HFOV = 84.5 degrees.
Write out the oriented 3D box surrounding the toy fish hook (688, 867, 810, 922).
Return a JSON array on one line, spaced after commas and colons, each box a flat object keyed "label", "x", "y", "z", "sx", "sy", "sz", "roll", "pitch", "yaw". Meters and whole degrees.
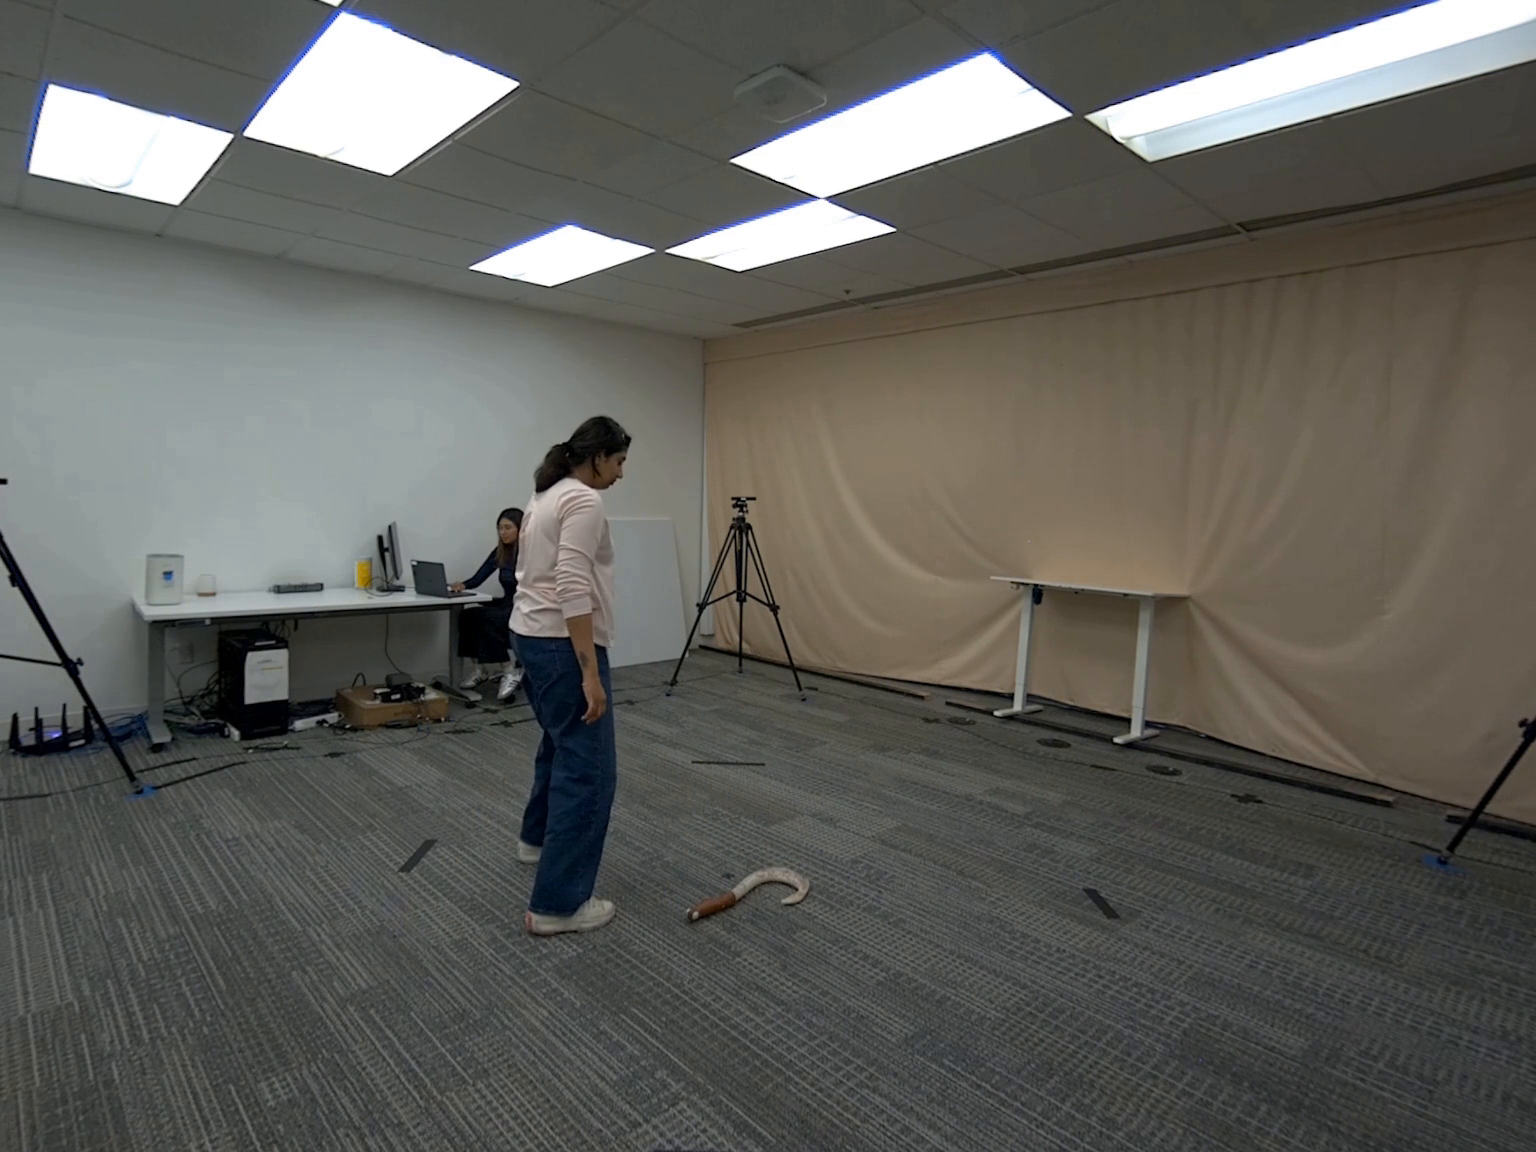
[{"label": "toy fish hook", "x": -0.058, "y": 1.108, "z": 2.888, "sx": 0.230, "sy": 0.048, "sz": 0.495, "roll": 4, "pitch": 5, "yaw": 43}]
